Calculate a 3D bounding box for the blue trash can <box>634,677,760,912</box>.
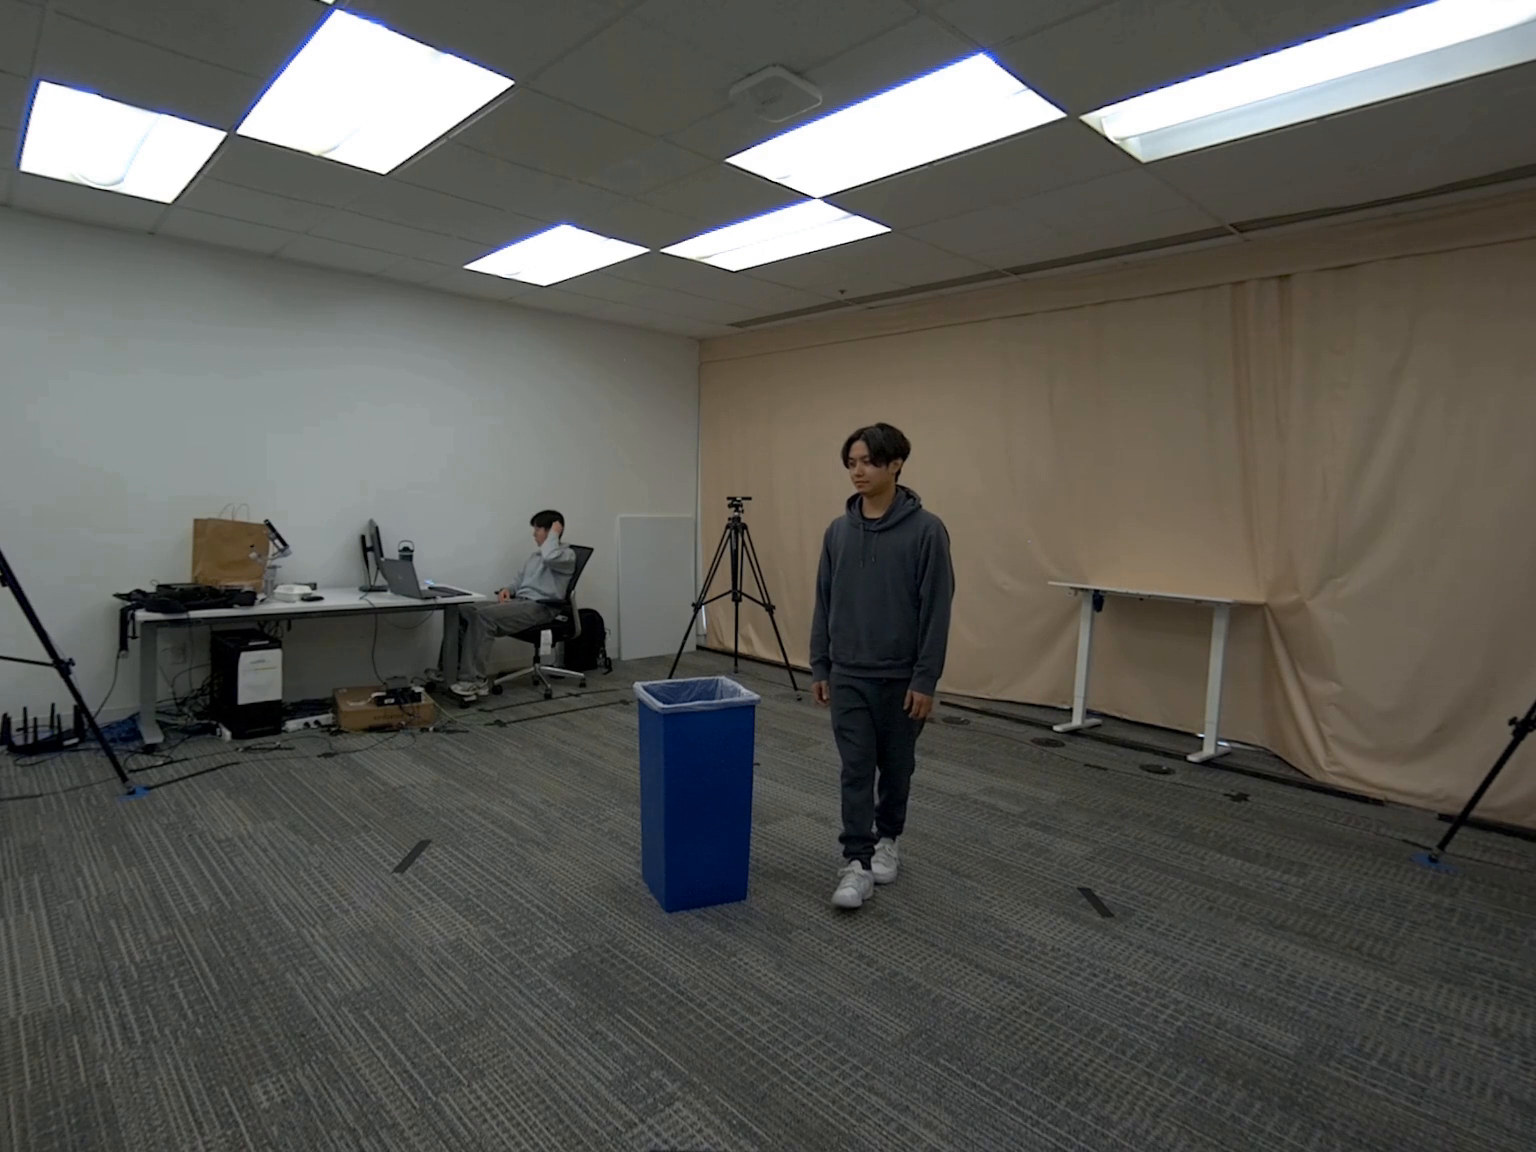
[{"bbox_3d":[-0.269,0.755,2.980,0.368,0.712,0.385,0,3,-23],"label":"blue trash can"}]
